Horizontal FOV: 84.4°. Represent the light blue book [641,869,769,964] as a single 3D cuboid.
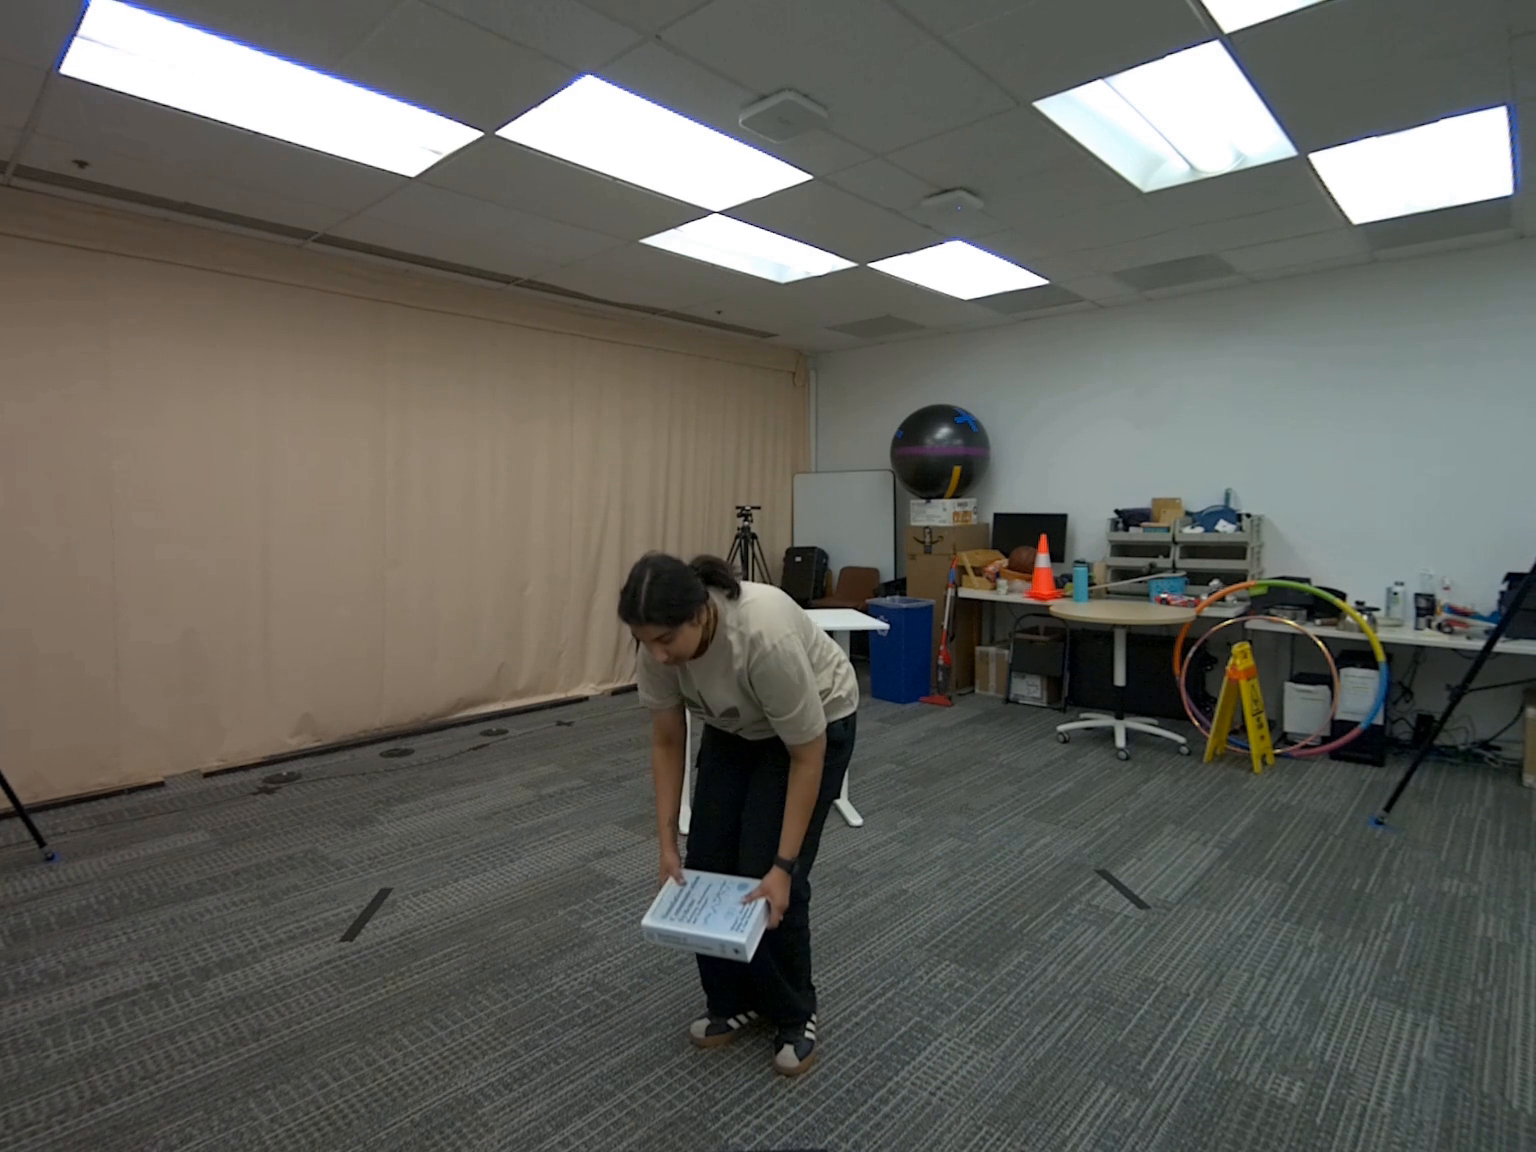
[{"bbox_3d":[-0.127,0.783,1.946,0.267,0.058,0.190,-2,21,24],"label":"light blue book"}]
